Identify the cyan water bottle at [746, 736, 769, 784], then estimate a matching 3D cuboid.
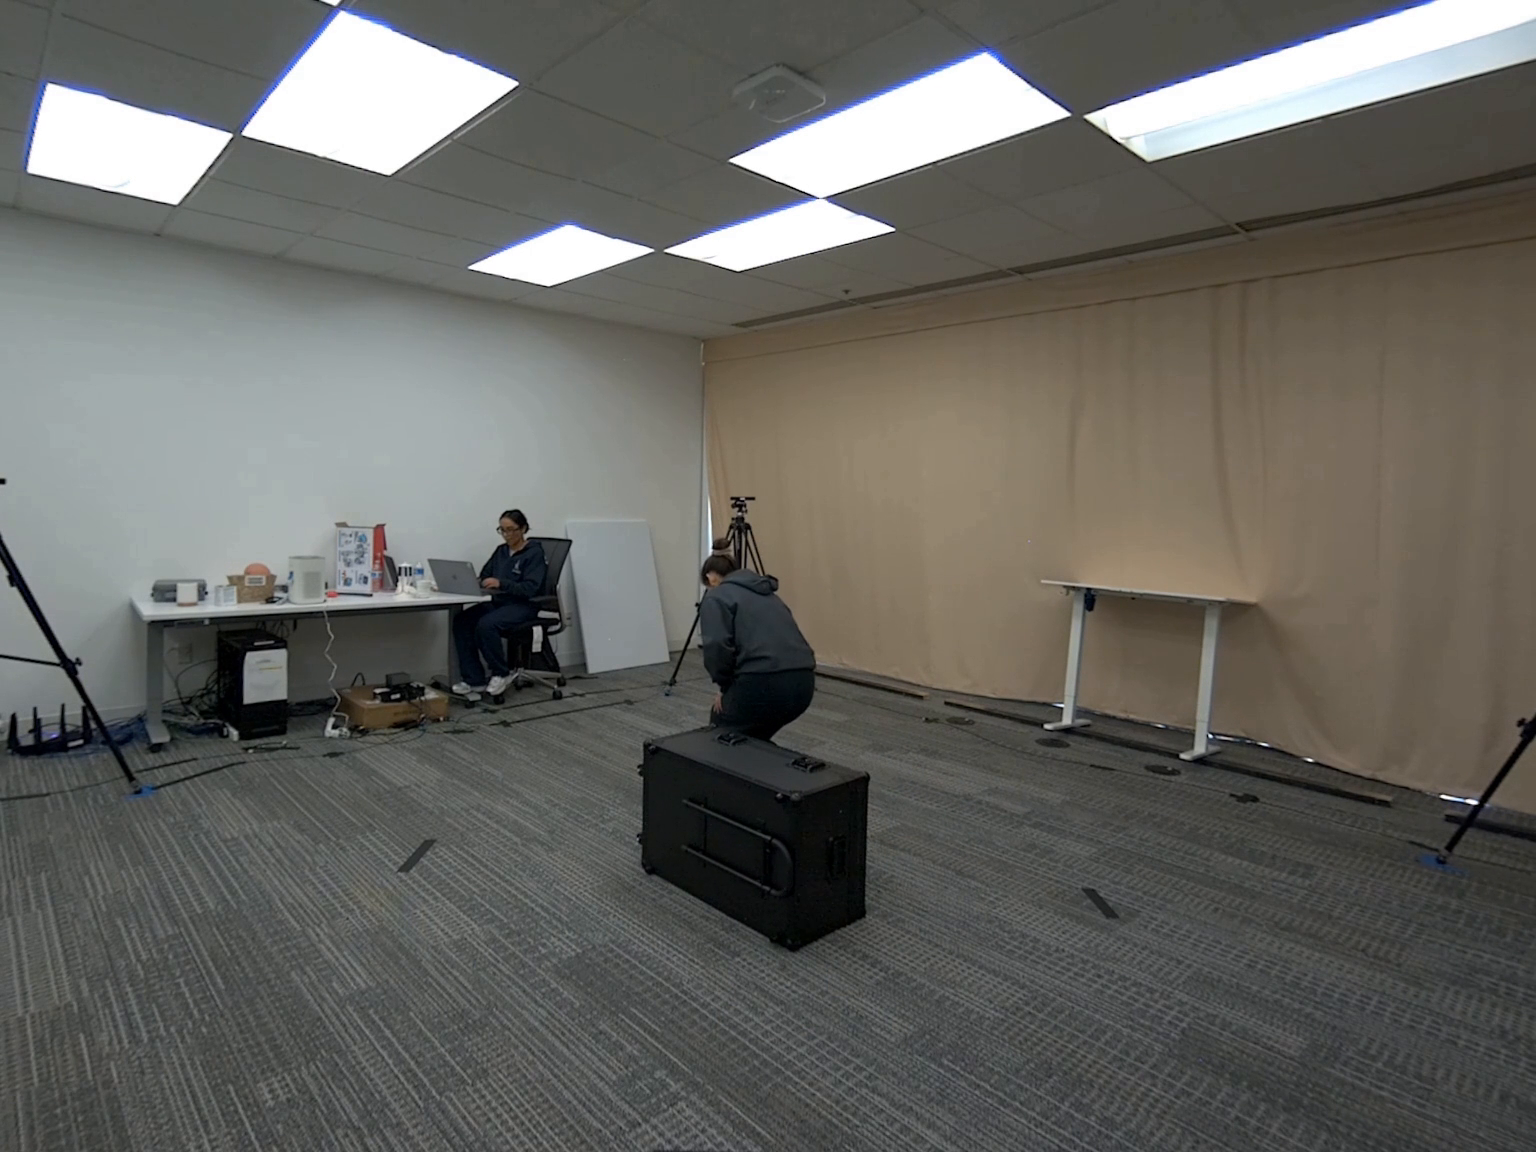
[{"bbox_3d":[-0.053,0.828,4.023,0.092,0.282,0.093,3,5,-2],"label":"cyan water bottle"}]
